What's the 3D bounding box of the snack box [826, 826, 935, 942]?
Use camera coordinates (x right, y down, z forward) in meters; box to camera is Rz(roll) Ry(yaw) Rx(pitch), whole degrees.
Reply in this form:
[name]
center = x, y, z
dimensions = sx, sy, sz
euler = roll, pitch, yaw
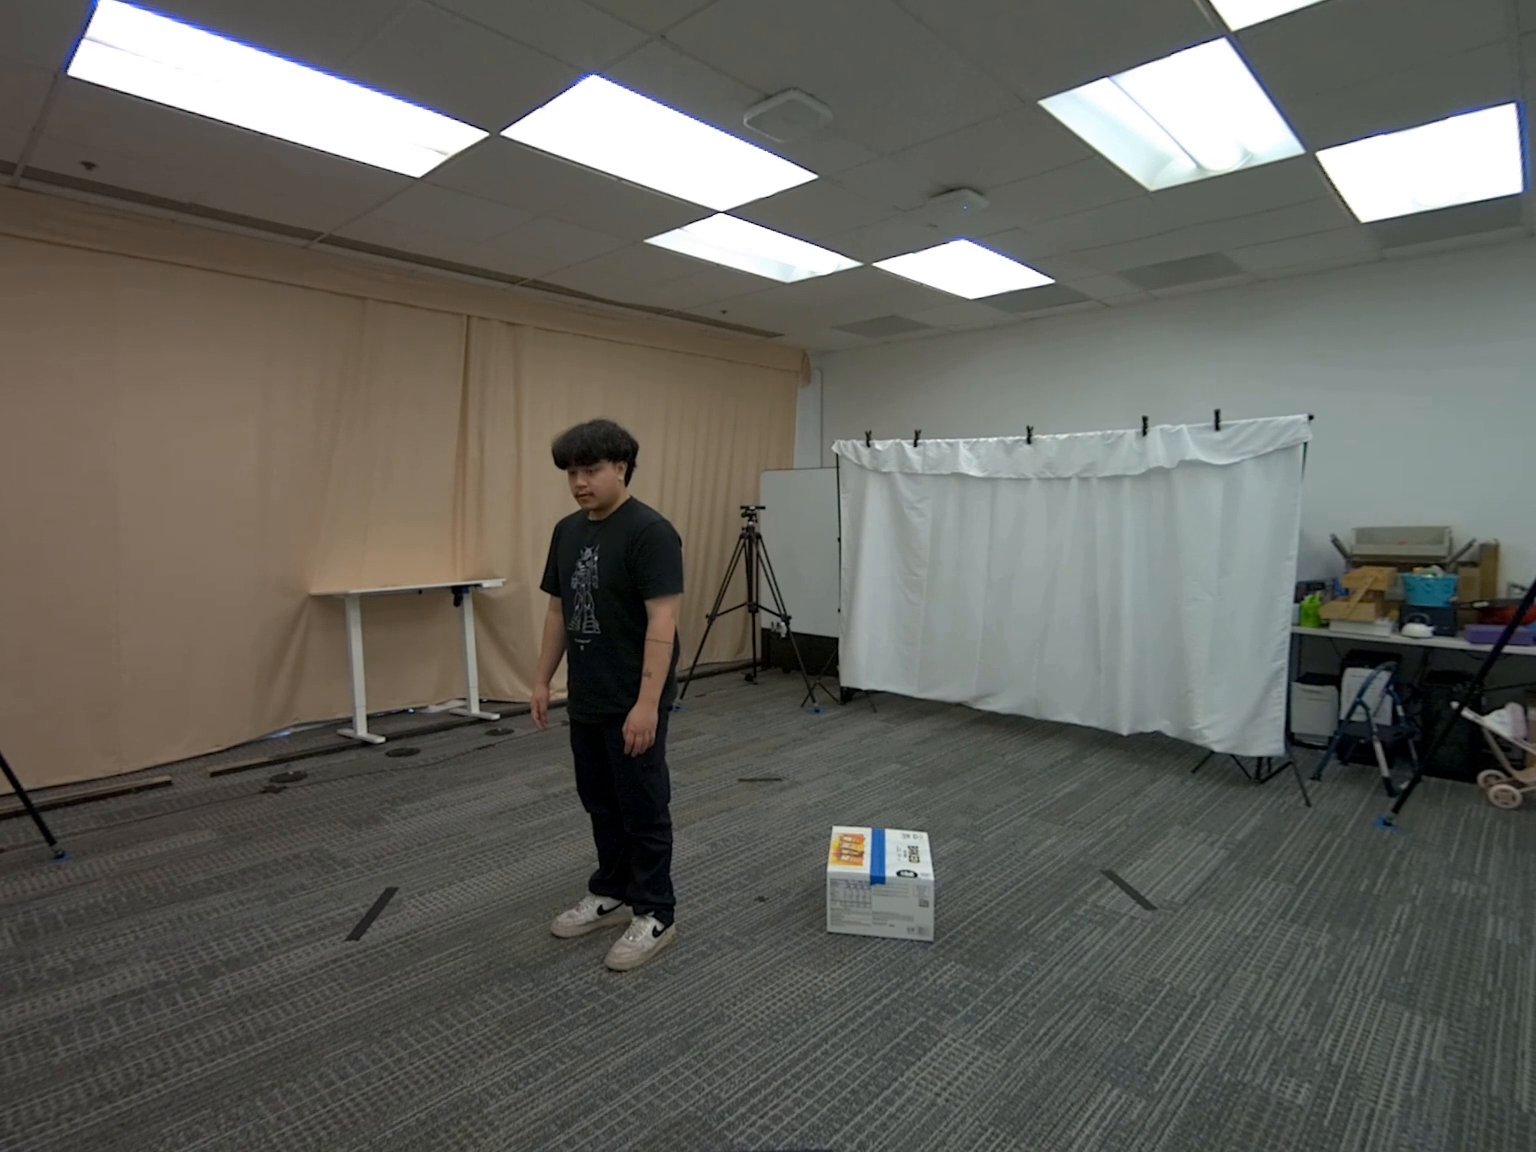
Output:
[snack box]
center = 0.390, 1.046, 2.900
dimensions = 0.344, 0.205, 0.402
euler = 0, 4, 9
